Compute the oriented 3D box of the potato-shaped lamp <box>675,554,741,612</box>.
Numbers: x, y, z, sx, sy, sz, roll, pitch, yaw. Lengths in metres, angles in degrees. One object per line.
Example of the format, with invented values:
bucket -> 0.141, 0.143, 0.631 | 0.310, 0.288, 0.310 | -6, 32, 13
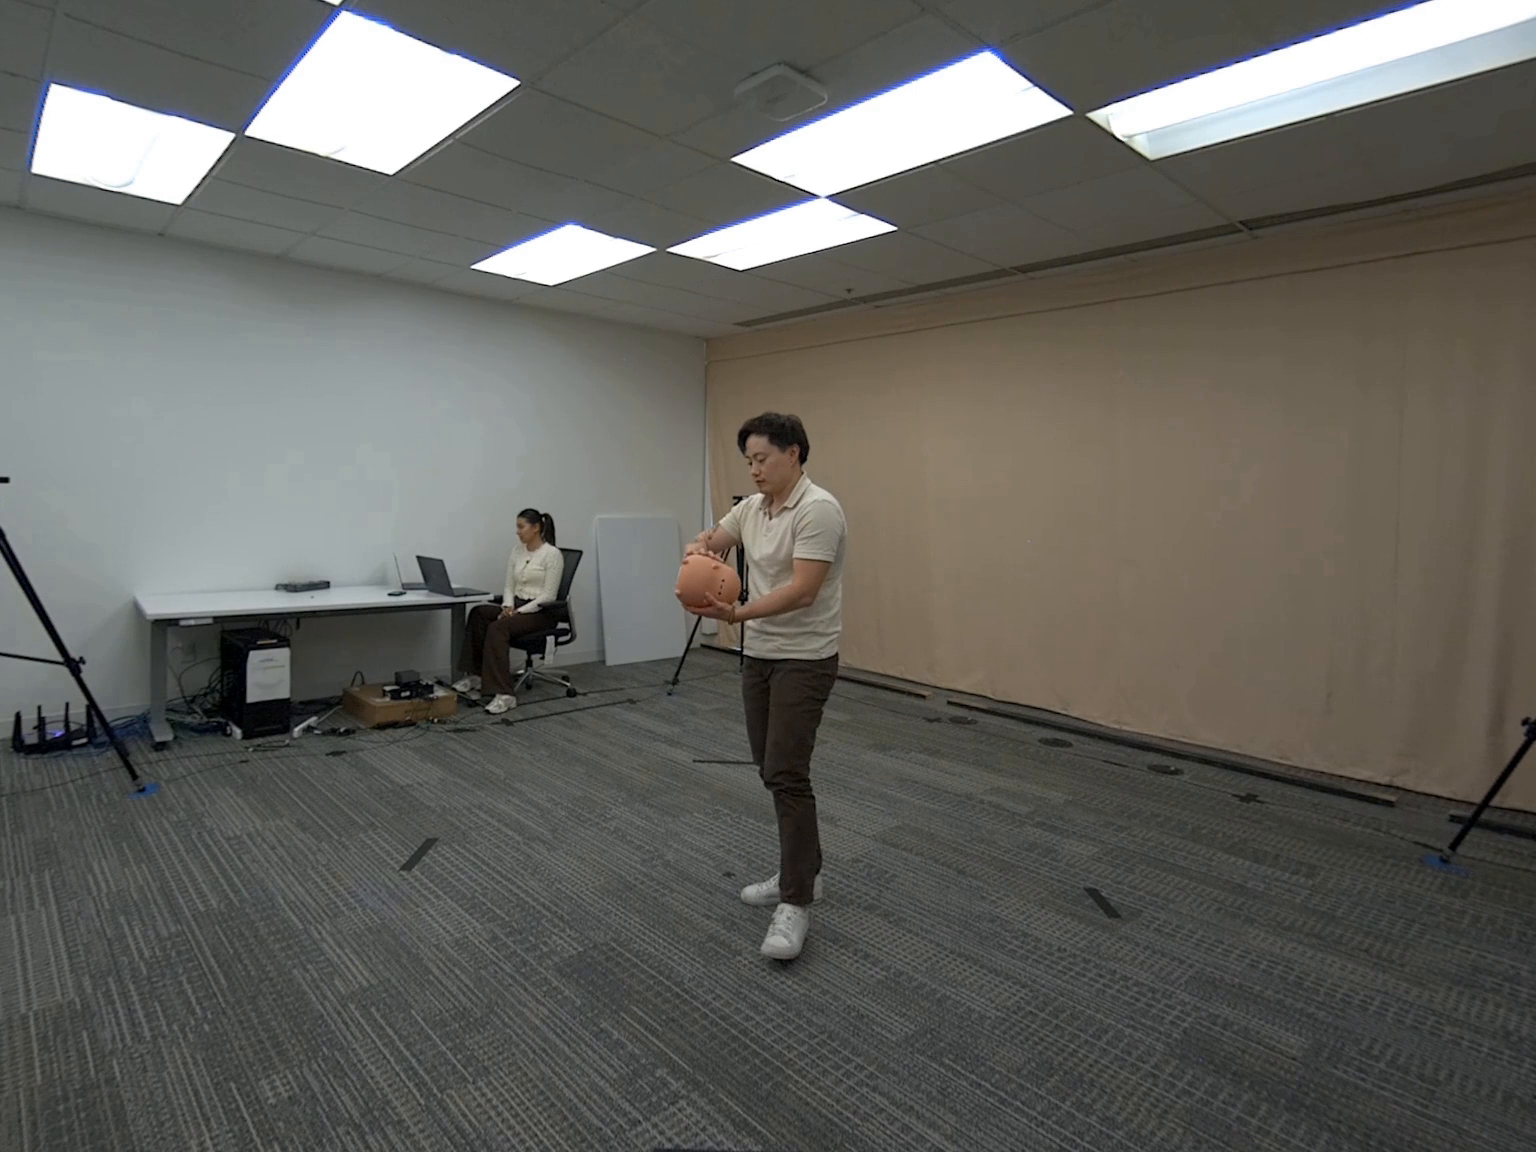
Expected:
potato-shaped lamp -> -0.187, 0.025, 2.640 | 0.198, 0.165, 0.171 | 11, -4, 0
